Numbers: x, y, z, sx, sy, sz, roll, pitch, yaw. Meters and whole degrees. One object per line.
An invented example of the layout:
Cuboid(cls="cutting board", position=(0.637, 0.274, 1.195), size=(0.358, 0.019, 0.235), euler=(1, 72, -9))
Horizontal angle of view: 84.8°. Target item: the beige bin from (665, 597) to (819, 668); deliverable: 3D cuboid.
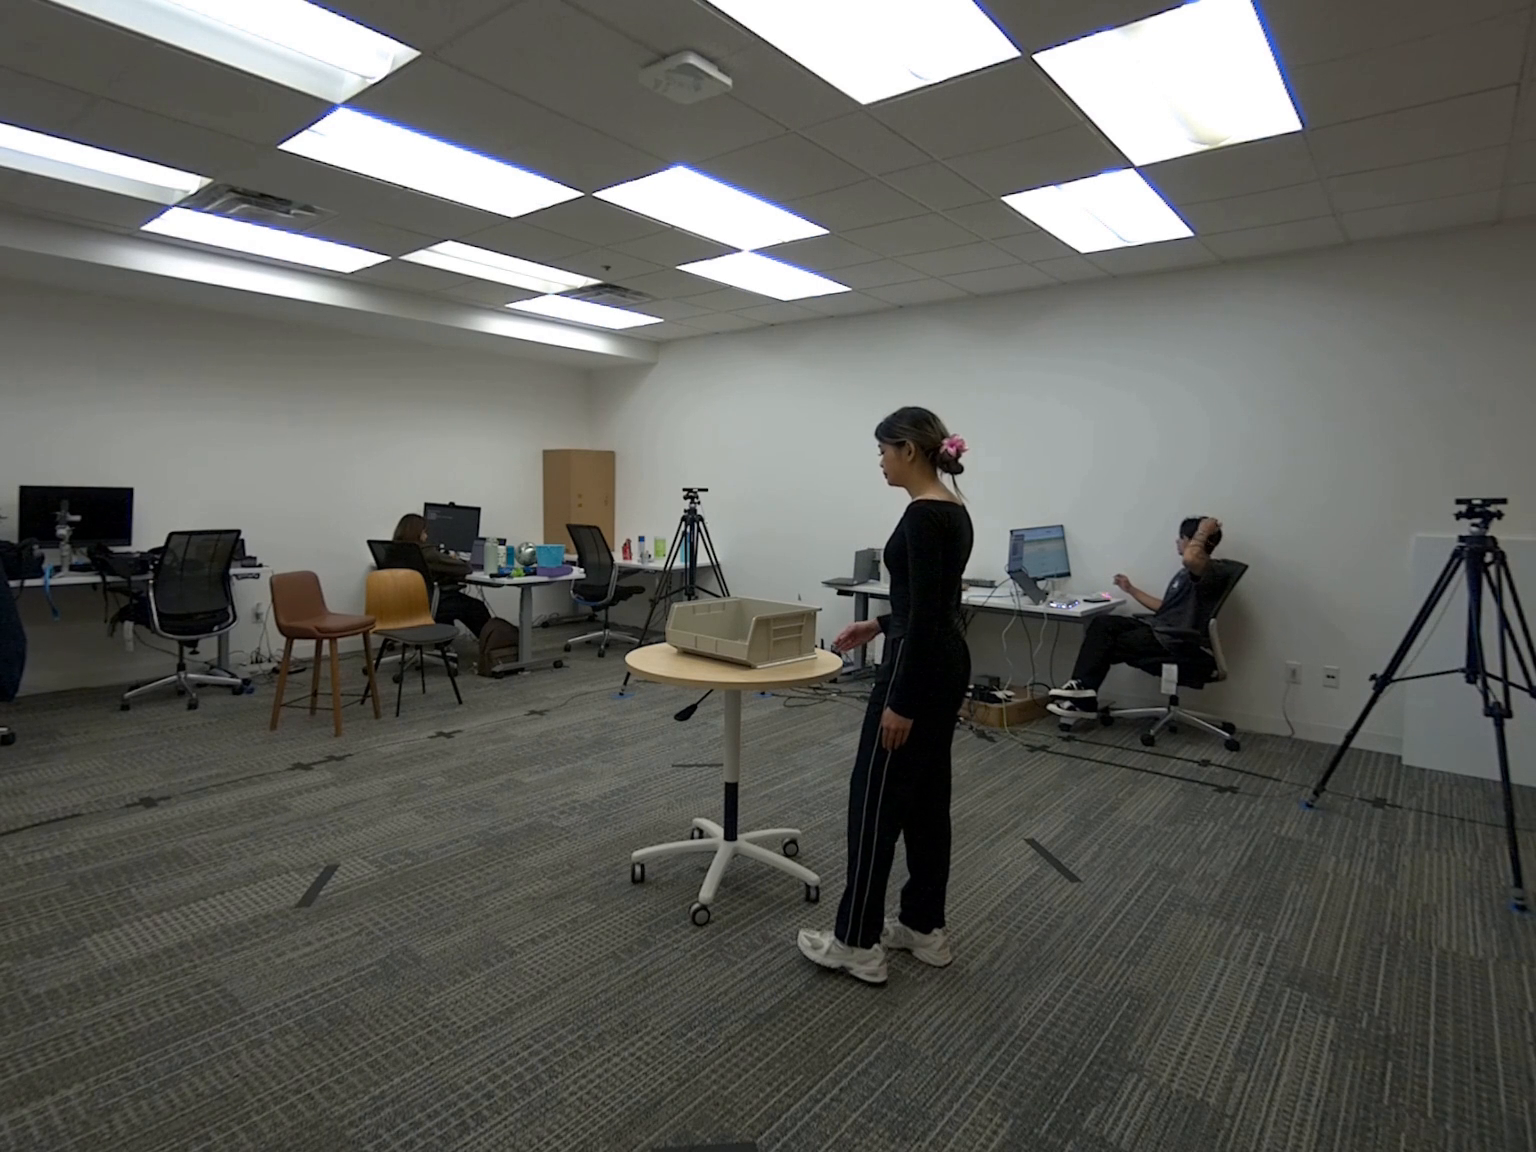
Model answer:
Cuboid(cls="beige bin", position=(-0.100, 0.196, 3.052), size=(0.437, 0.188, 0.366), euler=(5, 5, 44))
